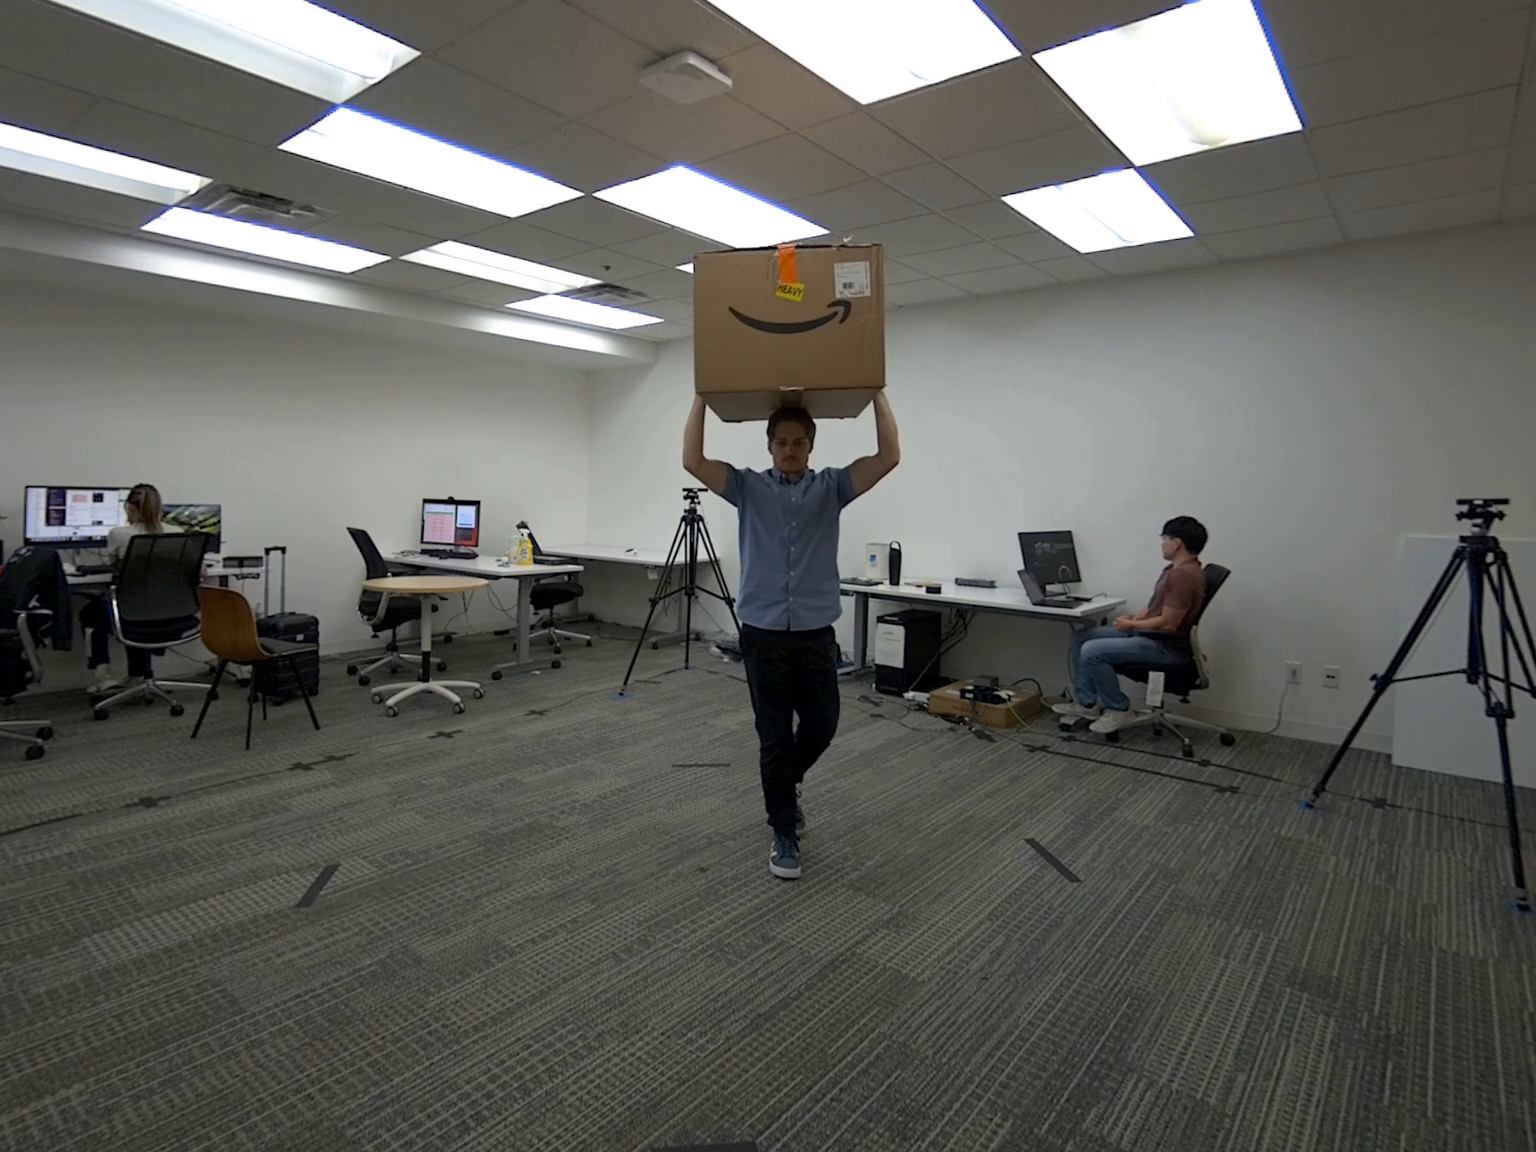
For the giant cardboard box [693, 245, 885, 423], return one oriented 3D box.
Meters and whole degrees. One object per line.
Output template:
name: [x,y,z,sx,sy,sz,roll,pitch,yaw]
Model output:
giant cardboard box: [0.063,-0.822,3.047,0.580,0.424,1.026,-2,6,2]
